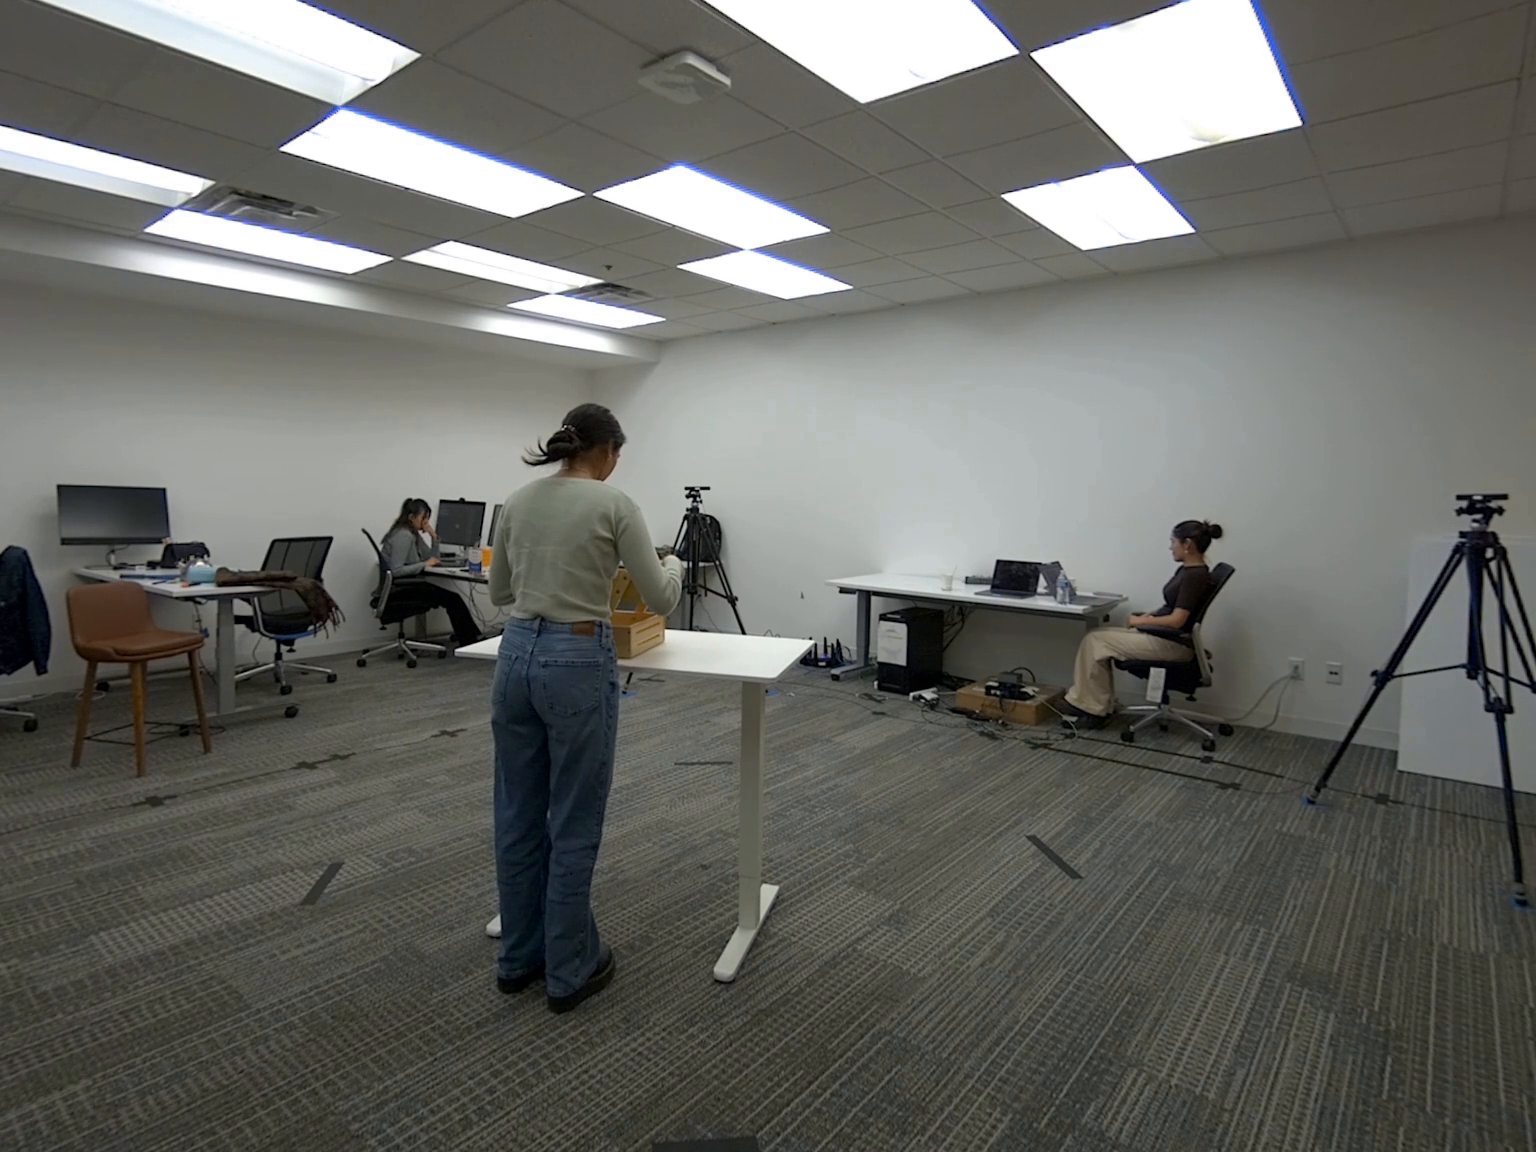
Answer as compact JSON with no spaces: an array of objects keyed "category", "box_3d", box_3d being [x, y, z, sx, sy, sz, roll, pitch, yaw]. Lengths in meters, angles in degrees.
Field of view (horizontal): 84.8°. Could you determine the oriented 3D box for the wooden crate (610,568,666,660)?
[{"category":"wooden crate","box_3d":[-0.474,0.089,2.669,0.306,0.272,0.321,1,4,13]}]
